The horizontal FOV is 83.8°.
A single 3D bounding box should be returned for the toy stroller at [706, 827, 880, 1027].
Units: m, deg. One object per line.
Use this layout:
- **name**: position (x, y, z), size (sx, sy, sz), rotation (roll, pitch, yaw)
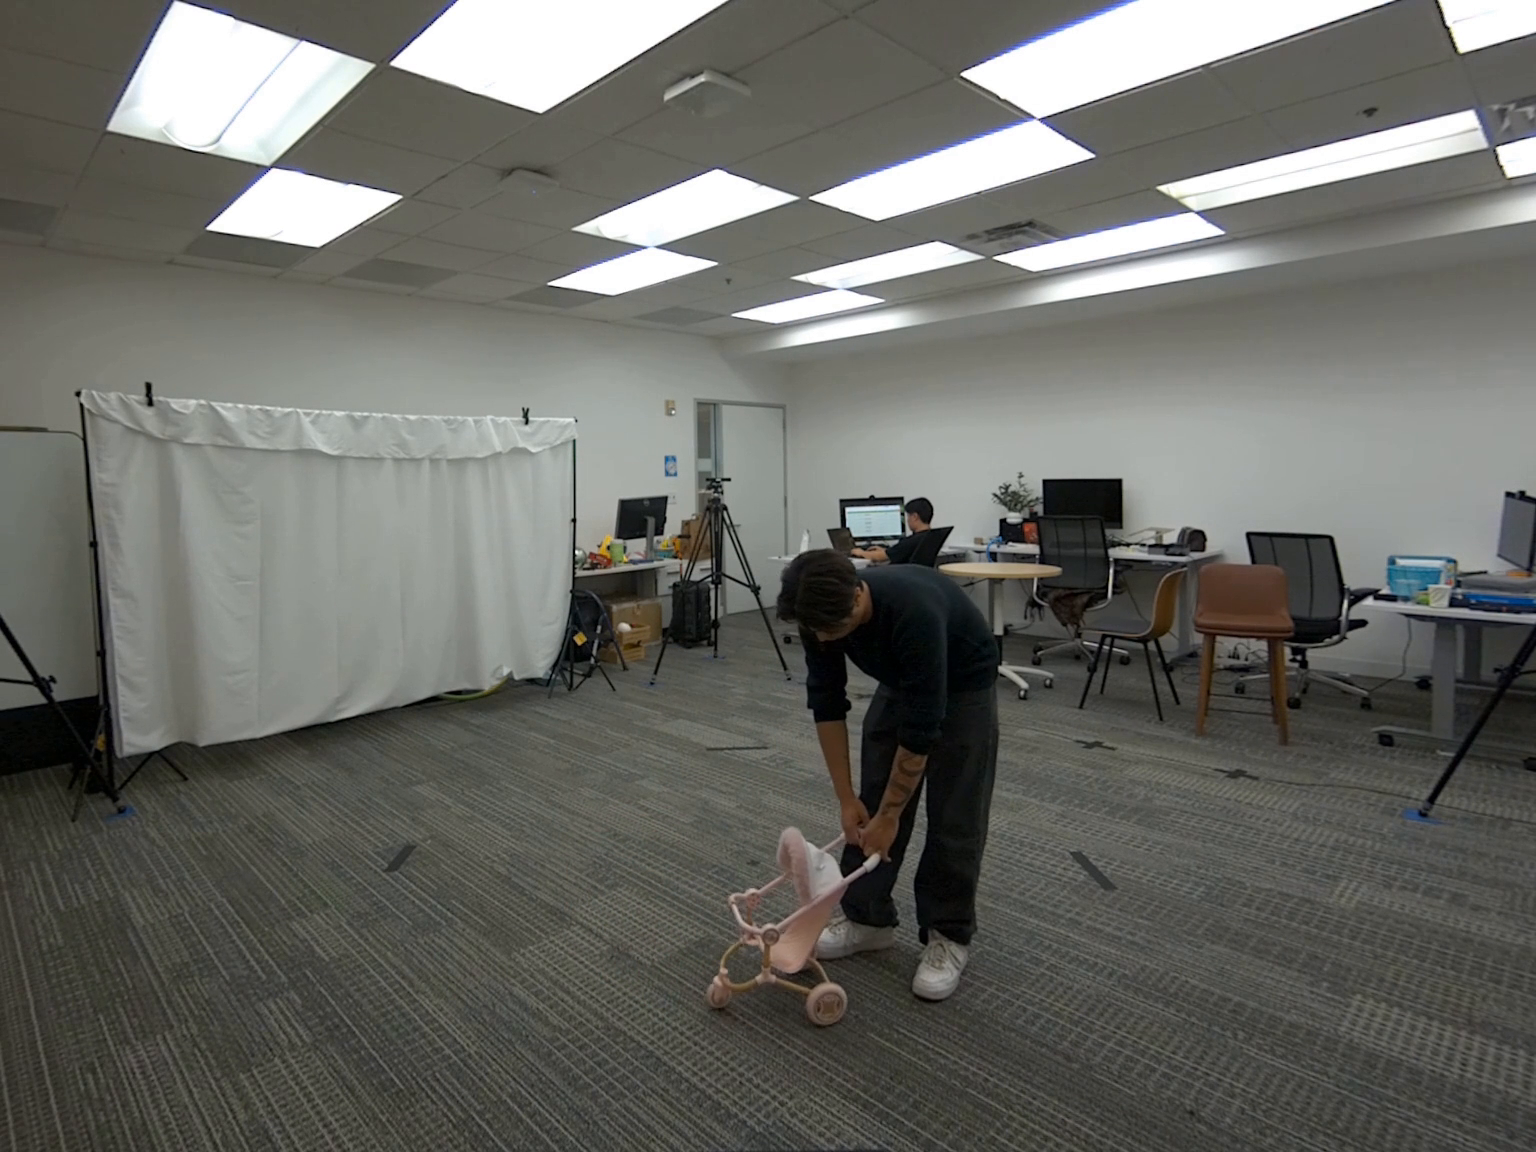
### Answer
- **toy stroller**: position (0.062, 0.916, 2.279), size (0.338, 0.534, 0.284), rotation (15, 2, -9)
